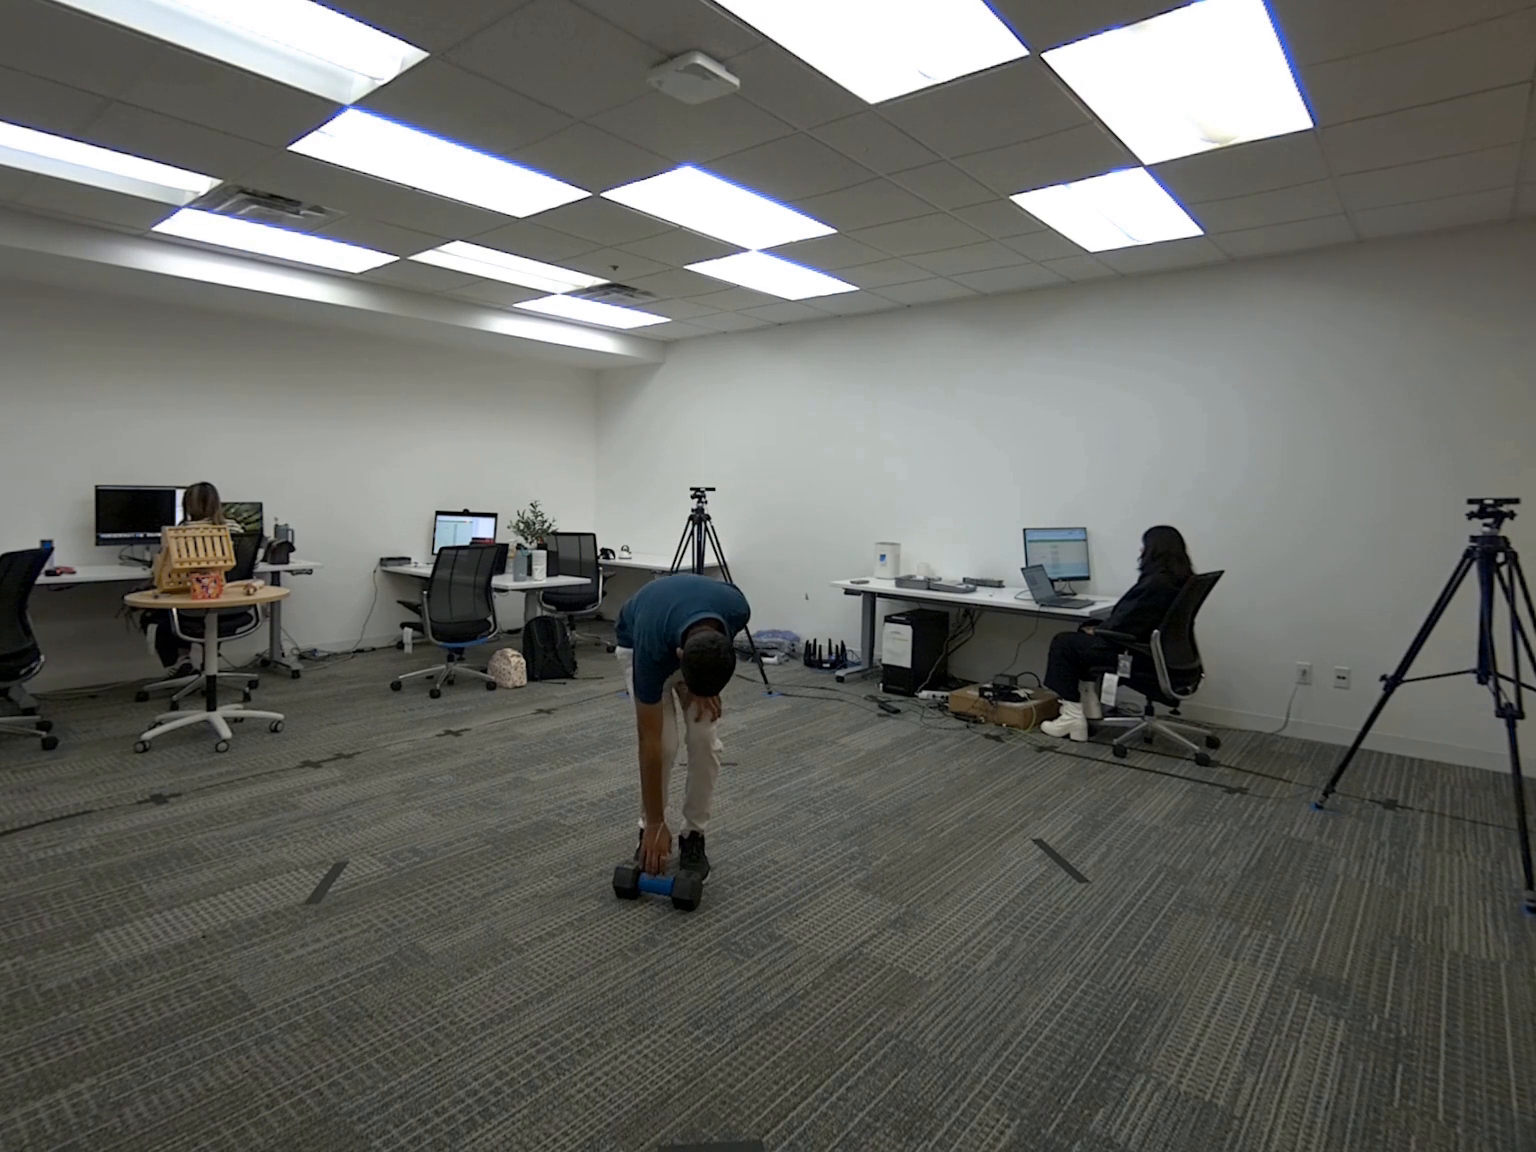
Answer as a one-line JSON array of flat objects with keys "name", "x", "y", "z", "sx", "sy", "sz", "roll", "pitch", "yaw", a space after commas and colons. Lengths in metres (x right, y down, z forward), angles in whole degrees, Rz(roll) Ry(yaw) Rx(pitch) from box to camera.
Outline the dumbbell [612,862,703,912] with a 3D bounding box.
[{"name": "dumbbell", "x": -0.381, "y": 1.033, "z": 2.855, "sx": 0.299, "sy": 0.119, "sz": 0.110, "roll": 3, "pitch": 36, "yaw": 17}]
